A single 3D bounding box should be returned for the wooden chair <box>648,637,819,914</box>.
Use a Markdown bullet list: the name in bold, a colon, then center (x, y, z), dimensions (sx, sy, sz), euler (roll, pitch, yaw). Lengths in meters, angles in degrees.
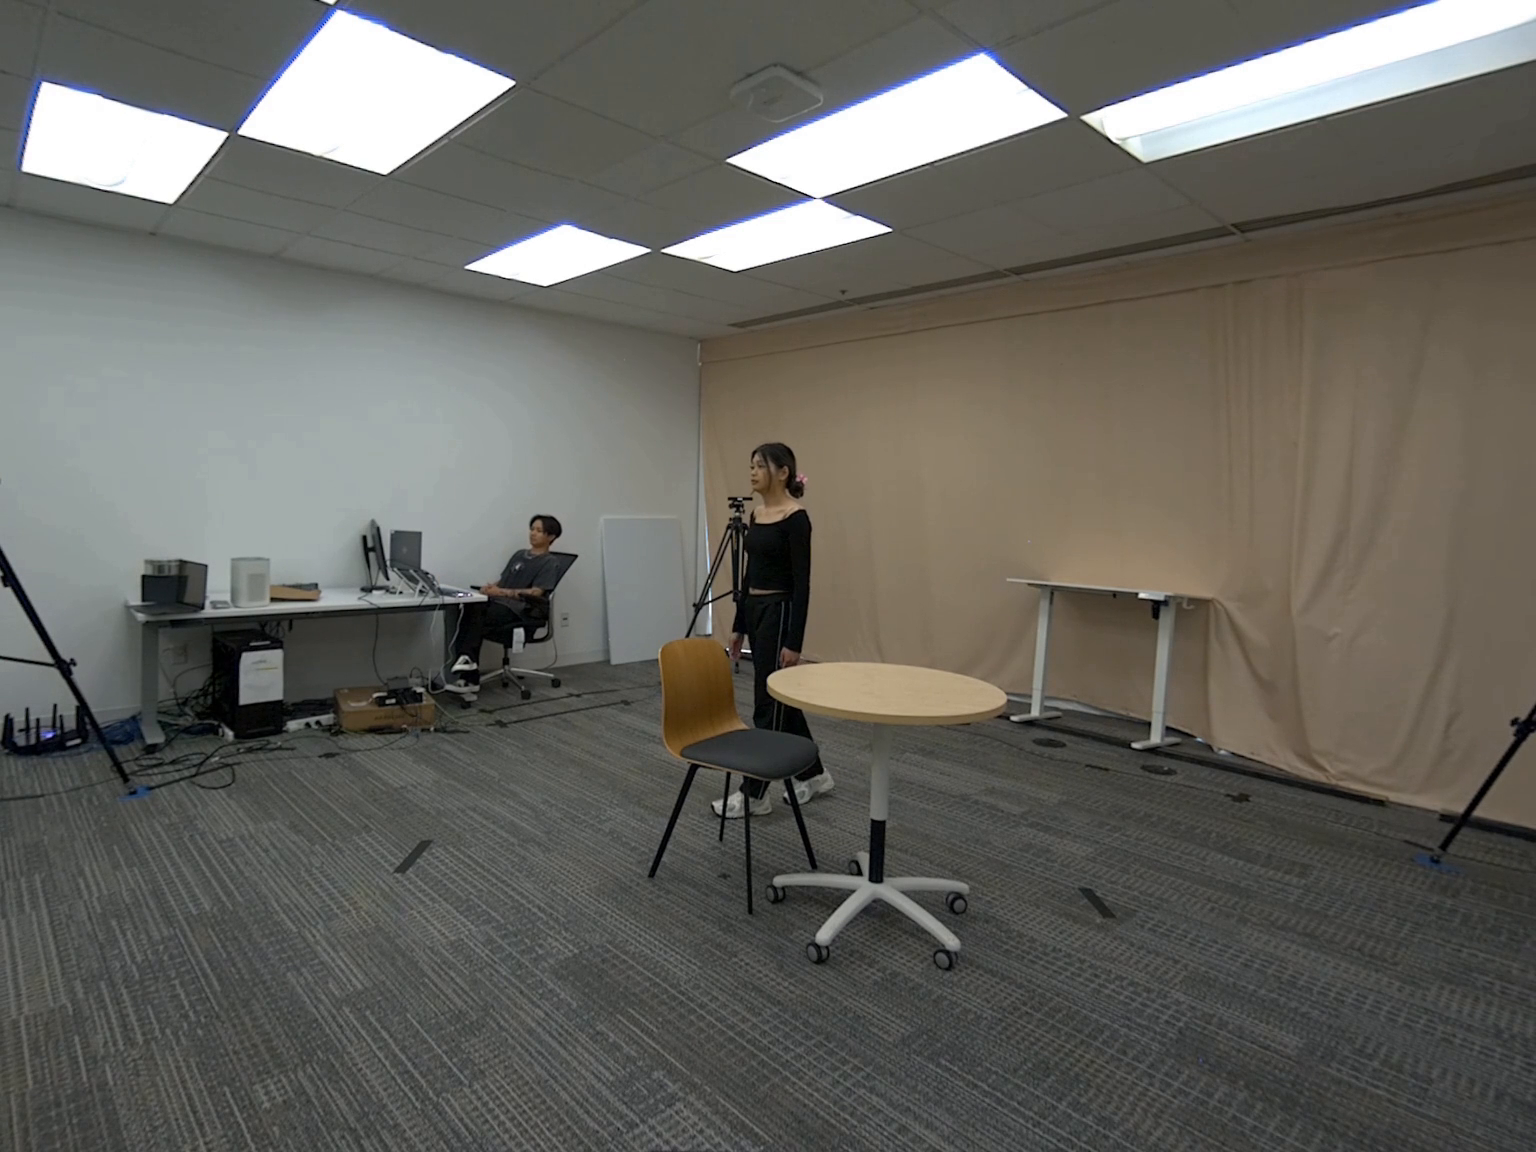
- **wooden chair**: center (-0.115, 0.682, 3.092), dimensions (0.534, 0.877, 0.468), euler (-2, 1, 35)
